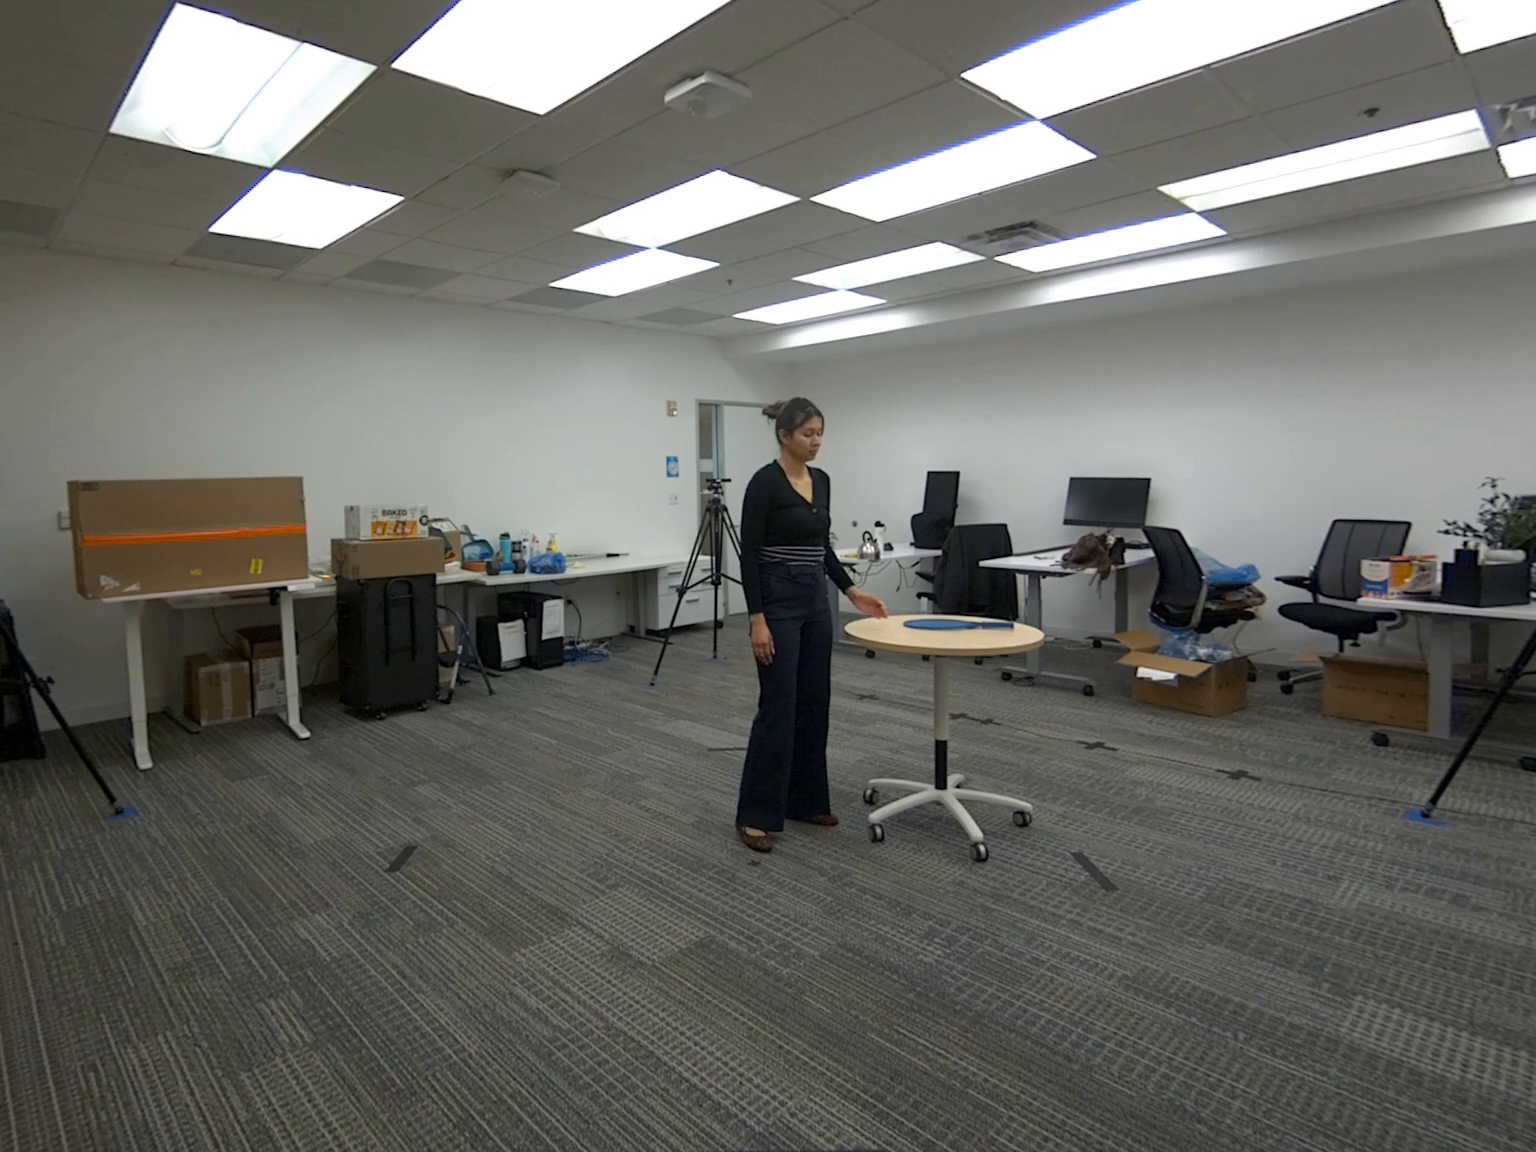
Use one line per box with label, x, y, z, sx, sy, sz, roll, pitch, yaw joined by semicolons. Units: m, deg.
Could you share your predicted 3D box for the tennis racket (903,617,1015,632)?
tennis racket;0.773;0.198;3.459;0.440;0.031;0.211;0;7;17
